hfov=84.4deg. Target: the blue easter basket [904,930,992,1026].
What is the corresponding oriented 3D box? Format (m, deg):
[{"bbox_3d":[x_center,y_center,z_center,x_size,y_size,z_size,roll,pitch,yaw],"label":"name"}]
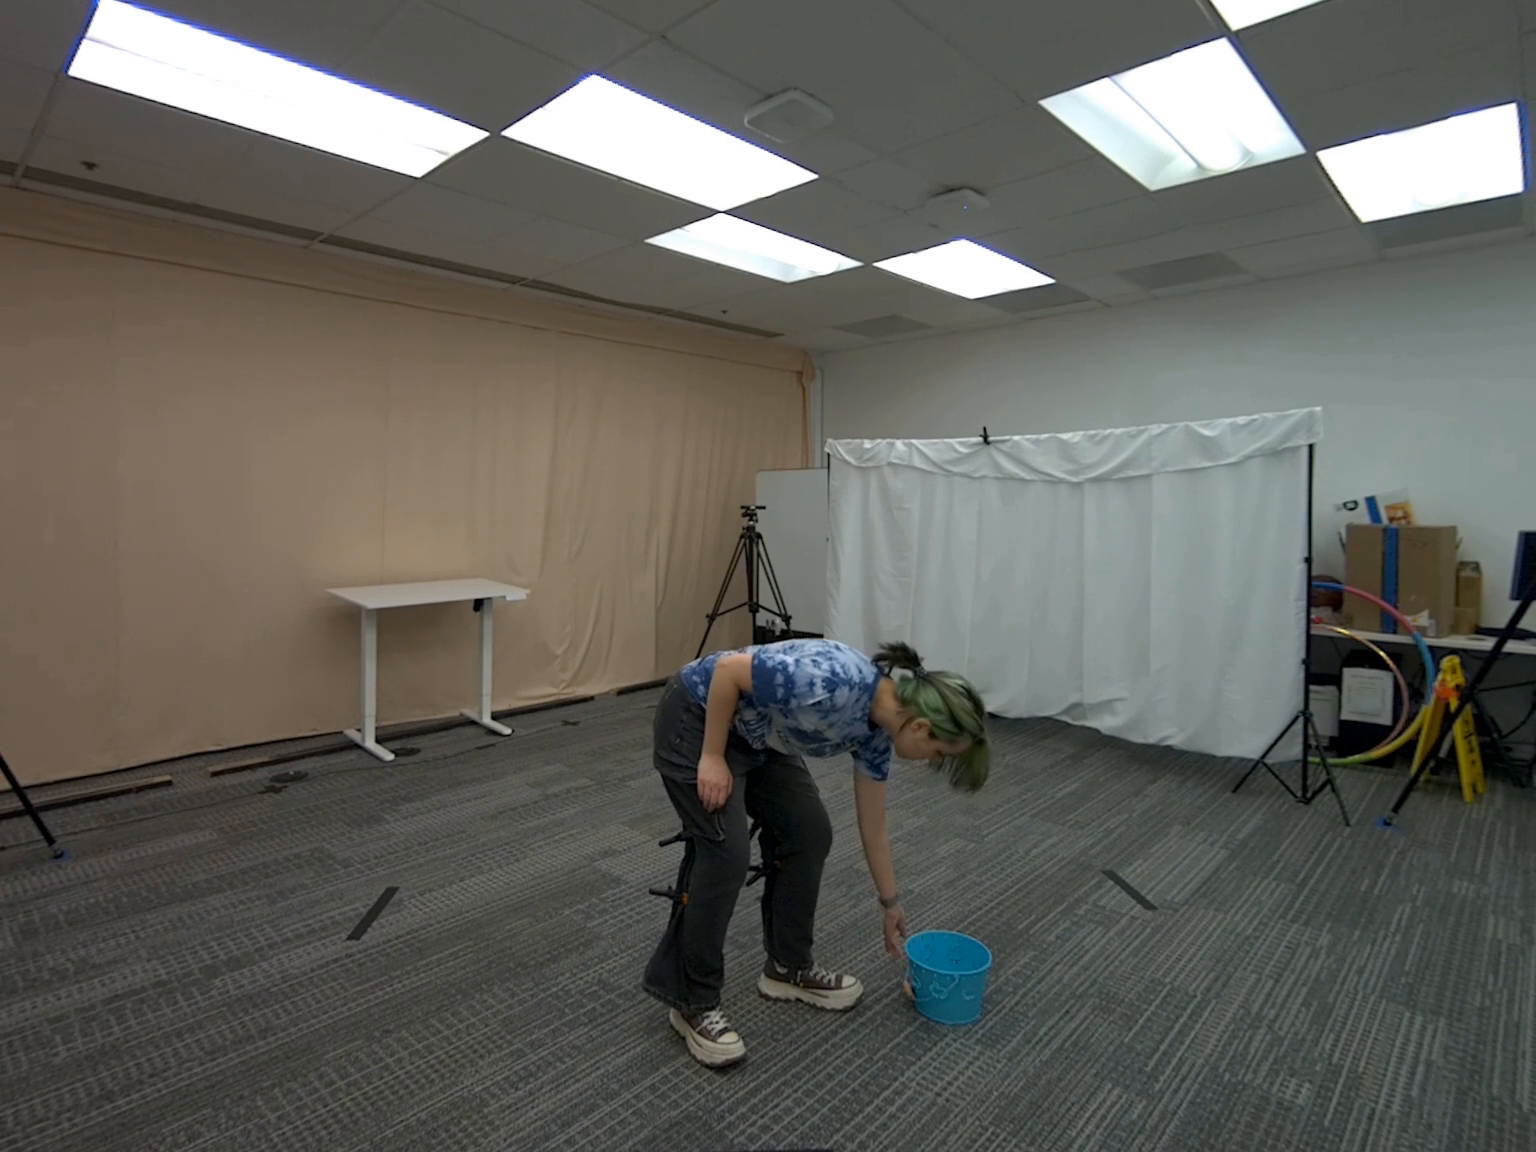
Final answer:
[{"bbox_3d":[0.503,1.120,2.343,0.243,0.155,0.244,0,4,-2],"label":"blue easter basket"}]
